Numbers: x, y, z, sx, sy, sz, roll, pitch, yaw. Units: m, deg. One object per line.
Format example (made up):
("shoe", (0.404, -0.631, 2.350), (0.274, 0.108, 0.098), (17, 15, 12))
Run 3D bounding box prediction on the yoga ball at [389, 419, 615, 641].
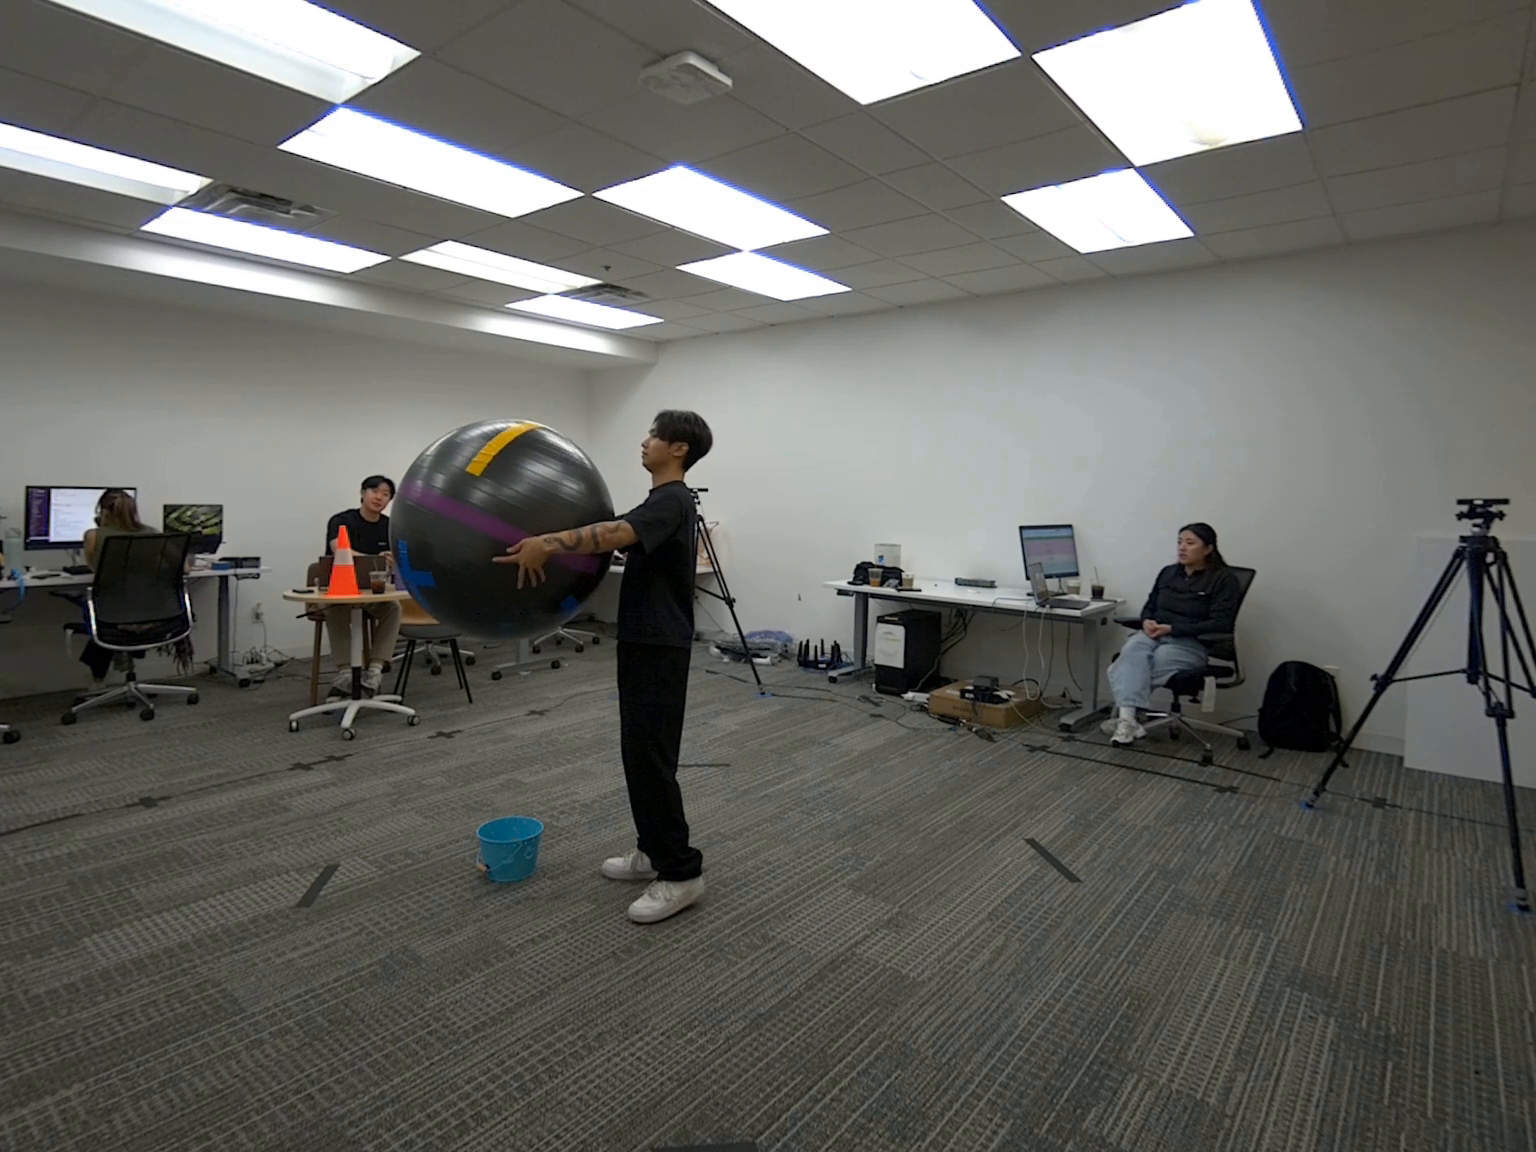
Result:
("yoga ball", (-0.925, -0.155, 2.930), (0.757, 0.756, 0.762), (1, 4, -2))
